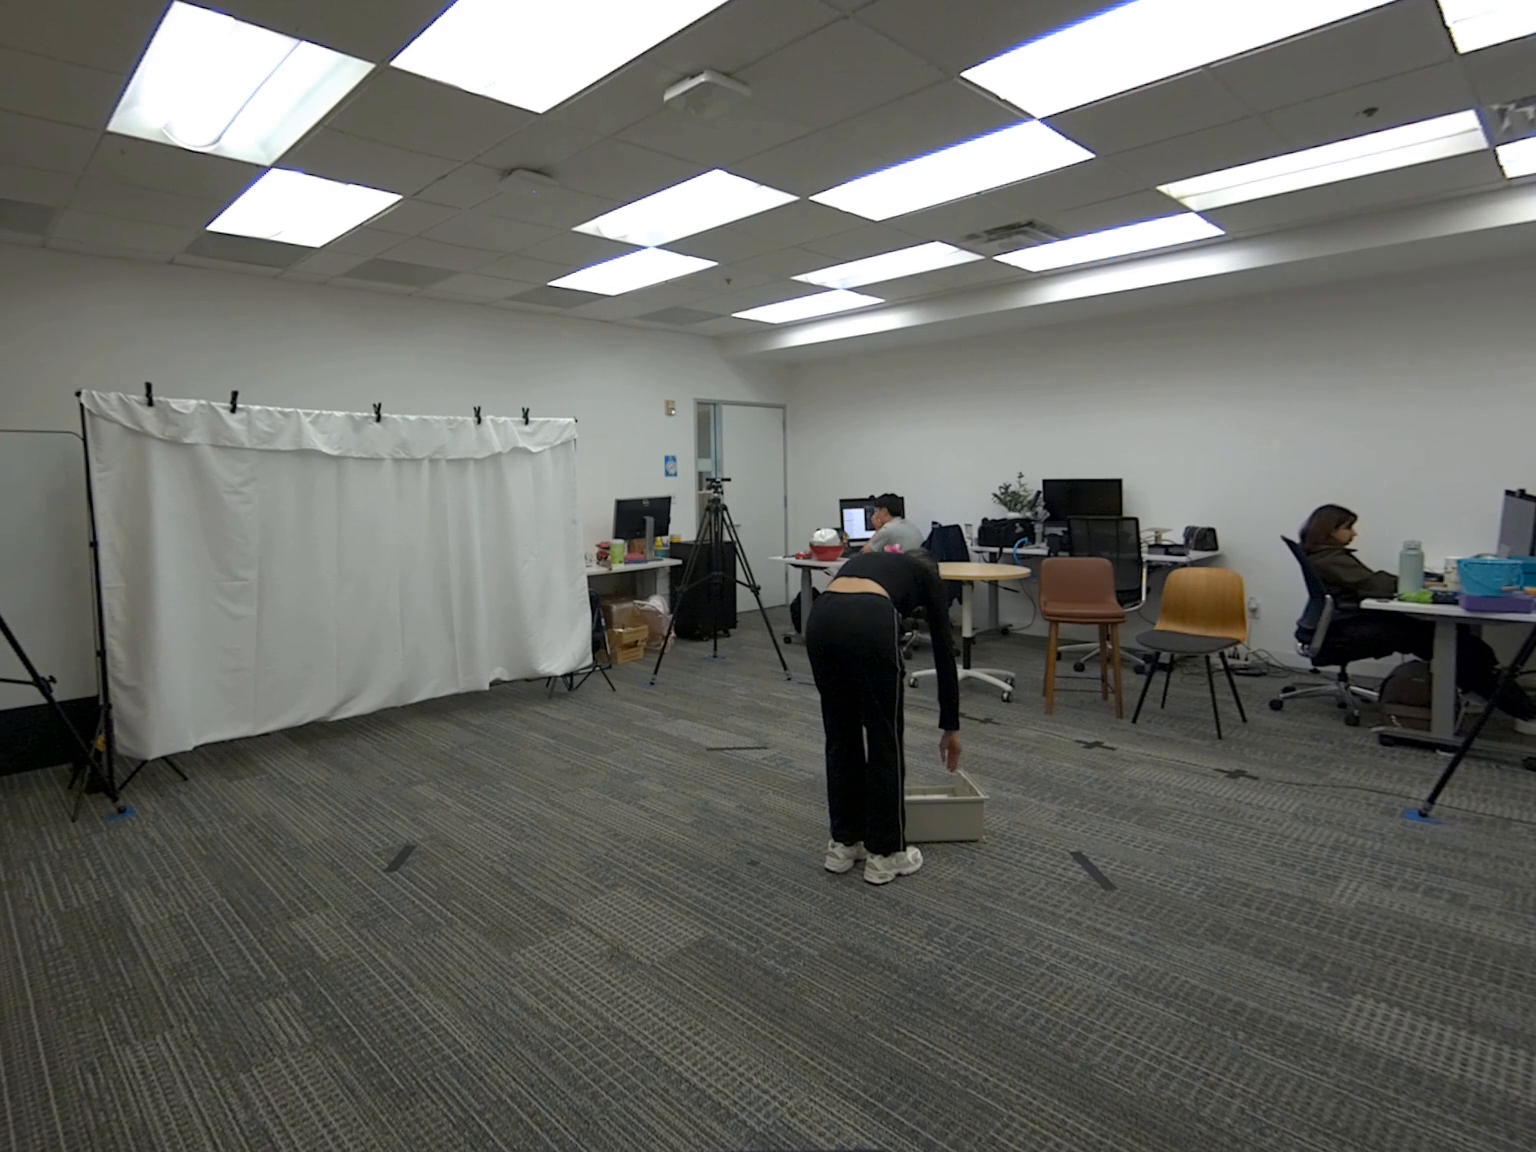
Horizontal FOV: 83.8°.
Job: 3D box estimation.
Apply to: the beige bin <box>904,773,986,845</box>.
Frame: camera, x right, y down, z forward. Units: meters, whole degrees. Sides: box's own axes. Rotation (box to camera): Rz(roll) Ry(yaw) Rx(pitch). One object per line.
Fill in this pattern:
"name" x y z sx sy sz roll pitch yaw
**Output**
"beige bin" 0.616 0.912 3.410 0.421 0.188 0.381 0 6 -5
